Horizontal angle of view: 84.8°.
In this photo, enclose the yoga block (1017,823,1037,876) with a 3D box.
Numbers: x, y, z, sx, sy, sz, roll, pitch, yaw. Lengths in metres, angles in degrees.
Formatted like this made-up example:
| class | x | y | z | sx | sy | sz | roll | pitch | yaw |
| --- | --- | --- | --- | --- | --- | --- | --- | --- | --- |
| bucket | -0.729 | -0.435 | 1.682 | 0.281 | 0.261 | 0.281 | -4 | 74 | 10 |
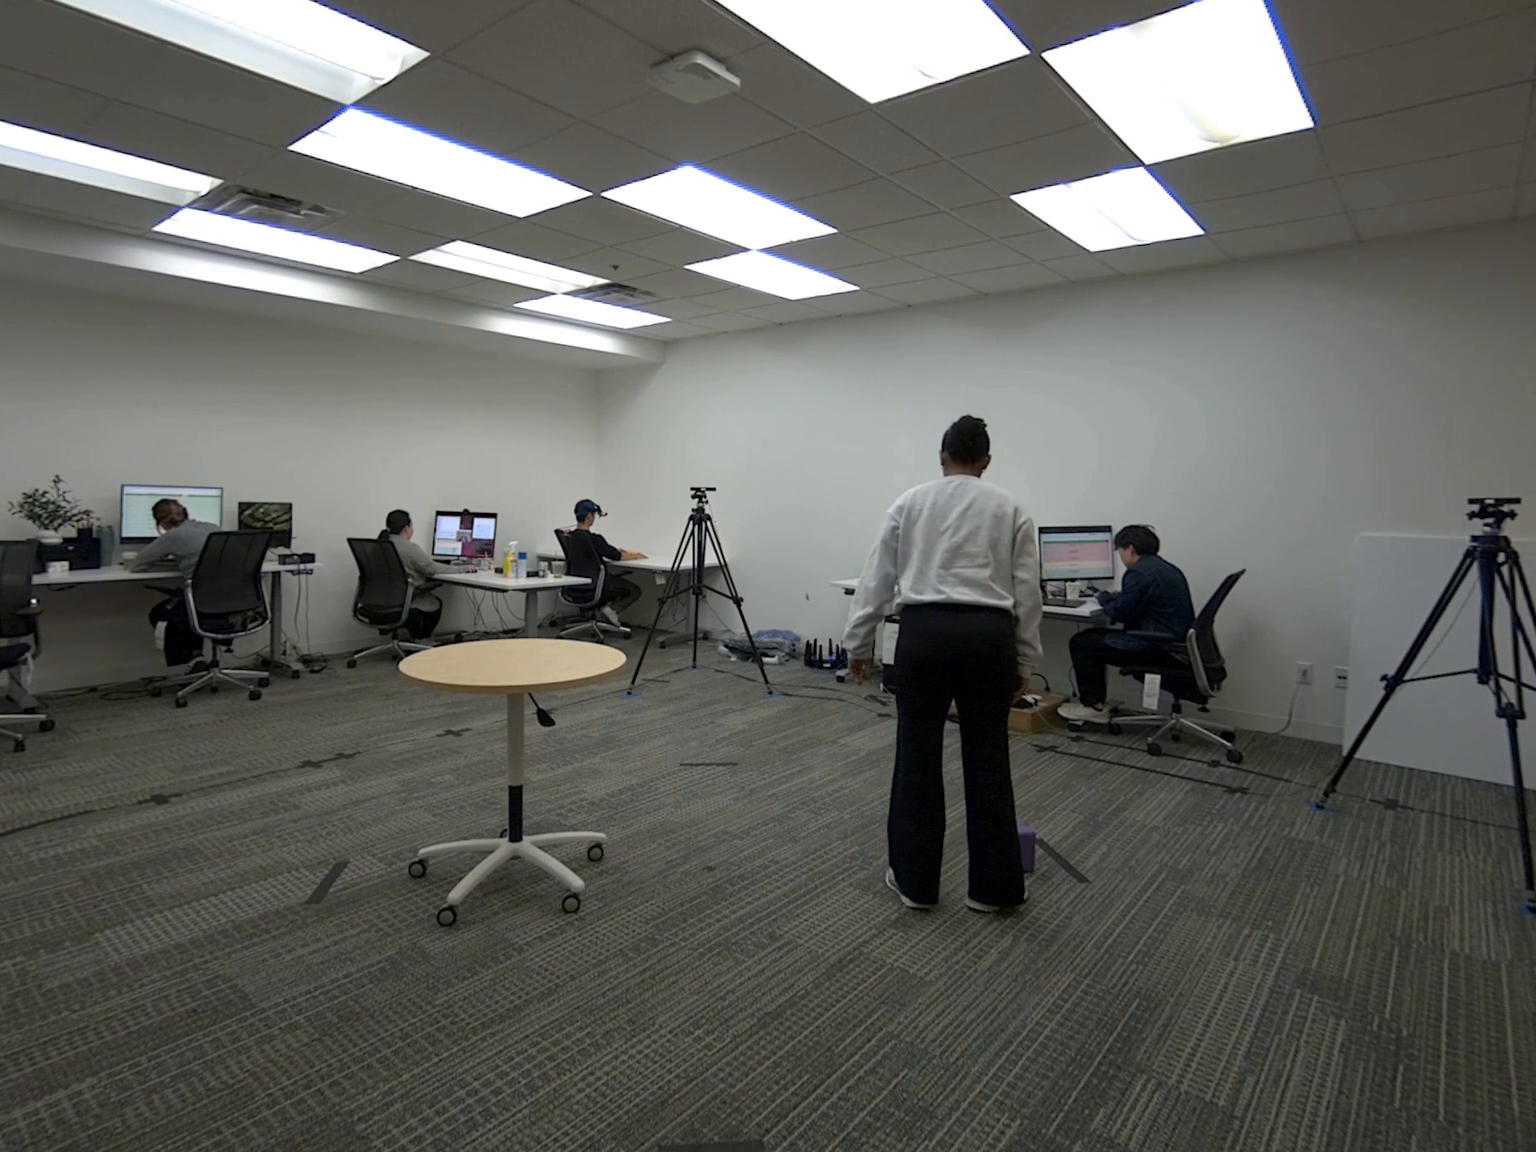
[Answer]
| class | x | y | z | sx | sy | sz | roll | pitch | yaw |
| --- | --- | --- | --- | --- | --- | --- | --- | --- | --- |
| yoga block | 0.924 | 1.005 | 3.243 | 0.075 | 0.149 | 0.233 | 1 | 3 | -13 |
